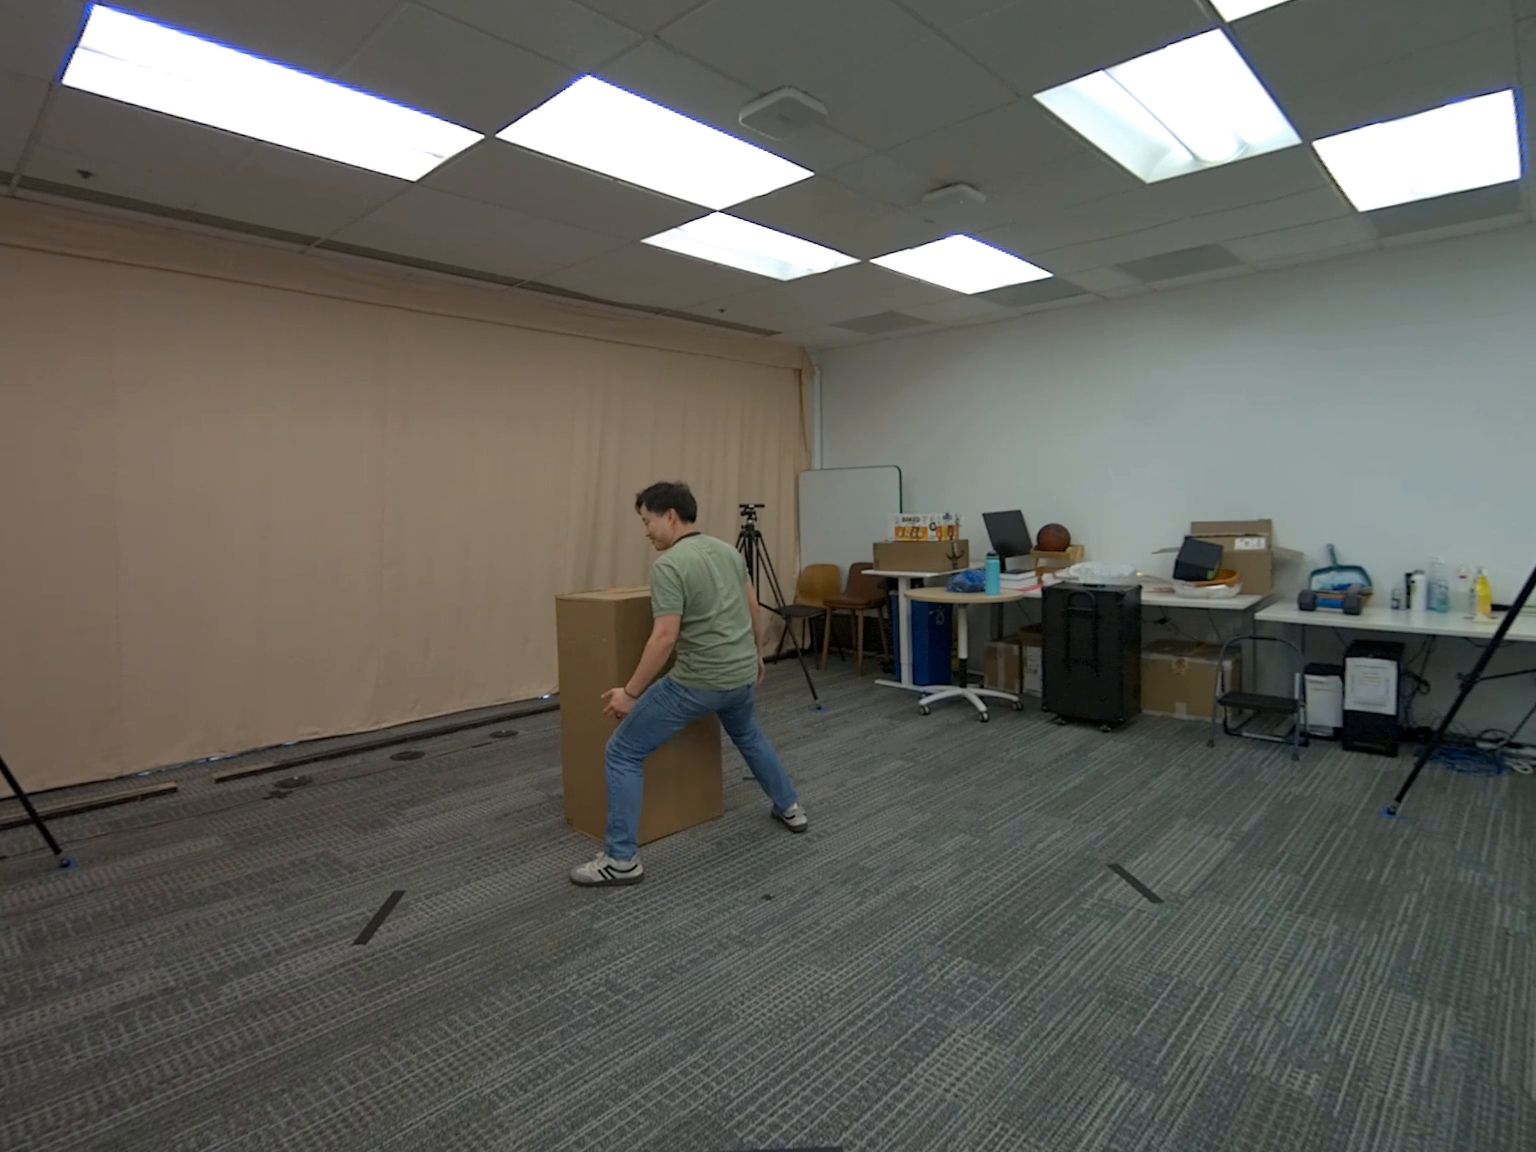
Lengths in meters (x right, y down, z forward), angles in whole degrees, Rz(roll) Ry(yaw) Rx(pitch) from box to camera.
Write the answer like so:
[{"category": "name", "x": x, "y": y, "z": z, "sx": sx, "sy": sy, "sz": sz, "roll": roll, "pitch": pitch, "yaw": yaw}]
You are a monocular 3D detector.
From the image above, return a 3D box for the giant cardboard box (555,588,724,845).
[{"category": "giant cardboard box", "x": -0.564, "y": 0.580, "z": 3.721, "sx": 0.440, "sy": 1.024, "sz": 0.560, "roll": 1, "pitch": 4, "yaw": 45}]
